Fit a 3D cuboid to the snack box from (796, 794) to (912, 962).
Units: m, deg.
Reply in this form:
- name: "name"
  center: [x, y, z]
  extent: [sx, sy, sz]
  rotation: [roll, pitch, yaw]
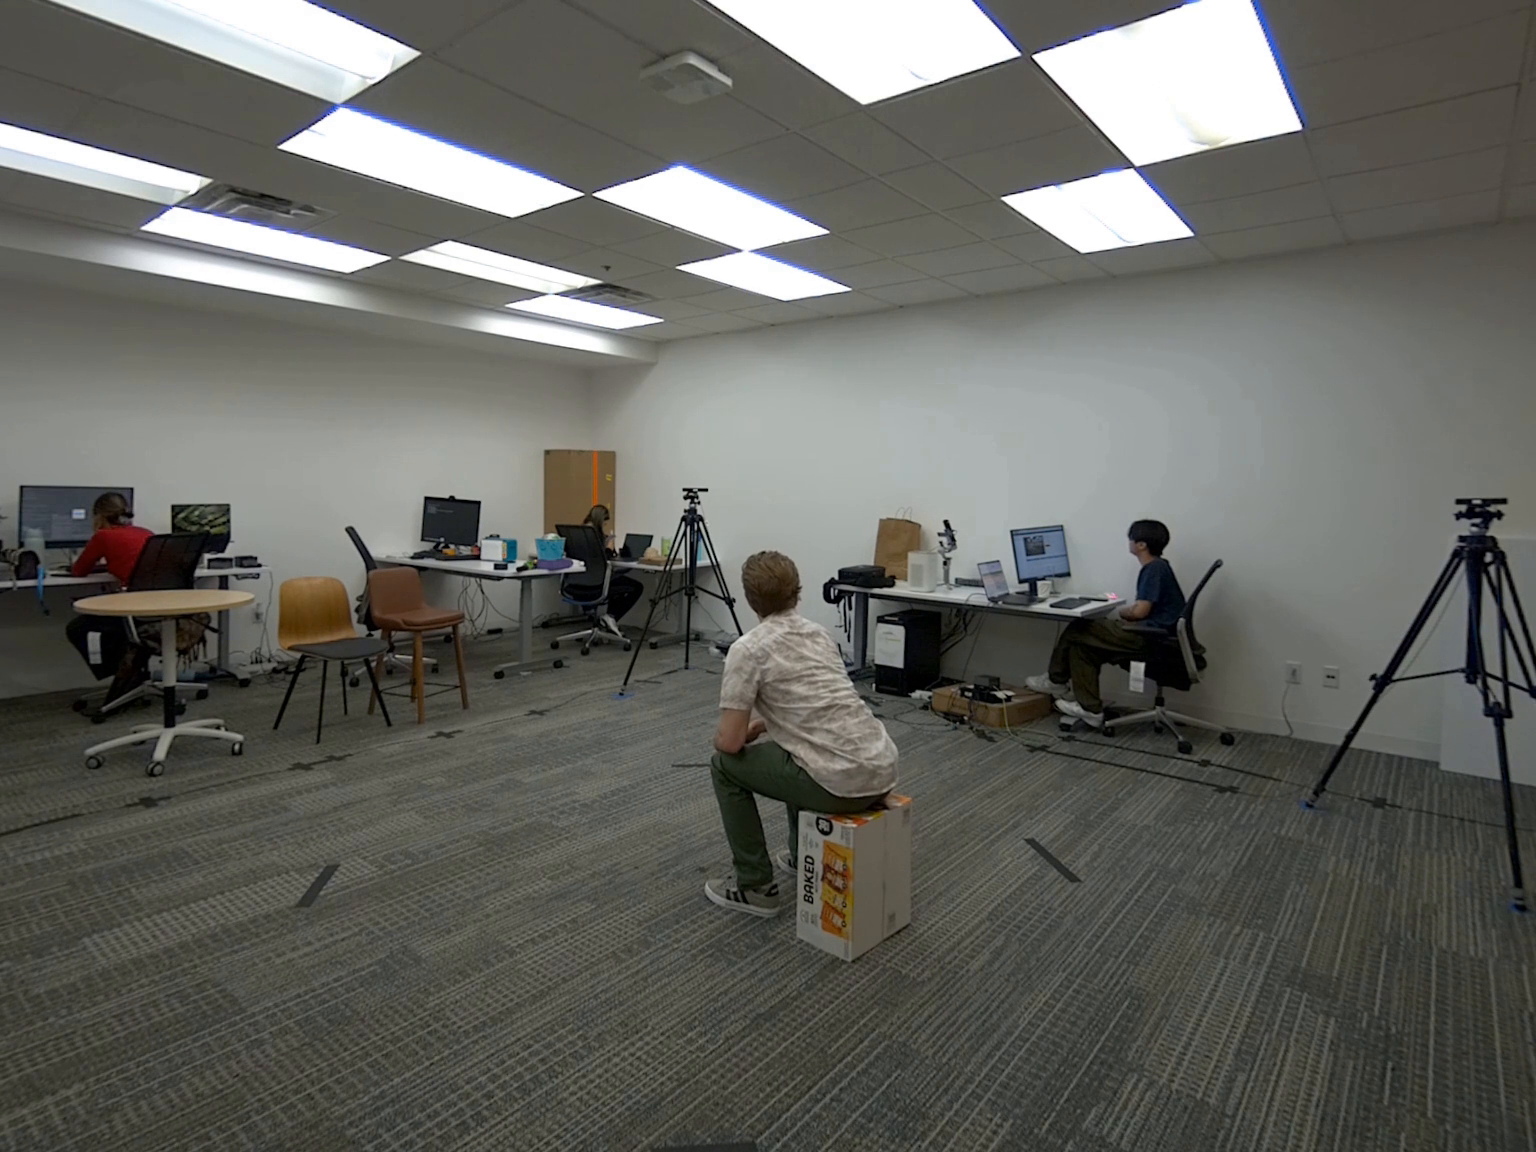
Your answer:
- name: "snack box"
  center: [0.275, 0.921, 2.690]
  extent: [0.212, 0.404, 0.330]
  rotation: [2, 3, 42]
